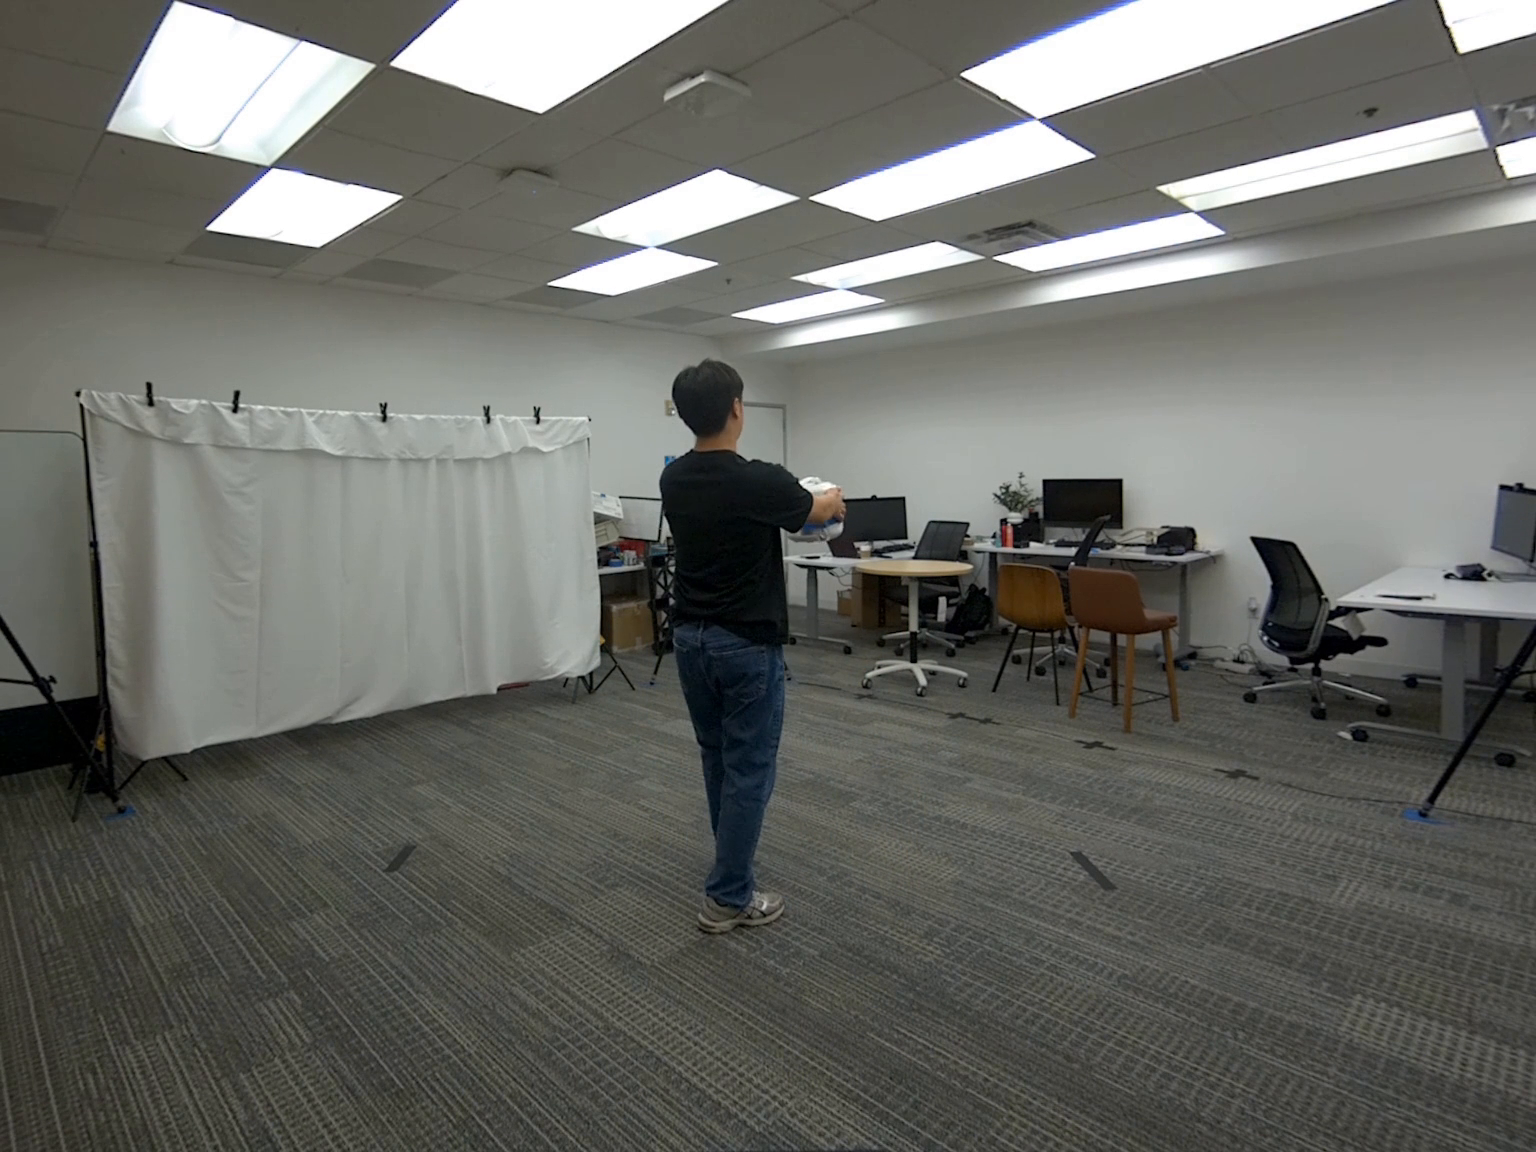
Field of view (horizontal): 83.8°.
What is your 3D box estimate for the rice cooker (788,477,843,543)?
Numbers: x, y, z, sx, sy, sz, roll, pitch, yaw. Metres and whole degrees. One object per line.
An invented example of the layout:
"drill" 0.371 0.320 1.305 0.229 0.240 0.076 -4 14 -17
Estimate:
"rice cooker" 0.164 -0.252 3.181 0.223 0.231 0.216 1 10 35
